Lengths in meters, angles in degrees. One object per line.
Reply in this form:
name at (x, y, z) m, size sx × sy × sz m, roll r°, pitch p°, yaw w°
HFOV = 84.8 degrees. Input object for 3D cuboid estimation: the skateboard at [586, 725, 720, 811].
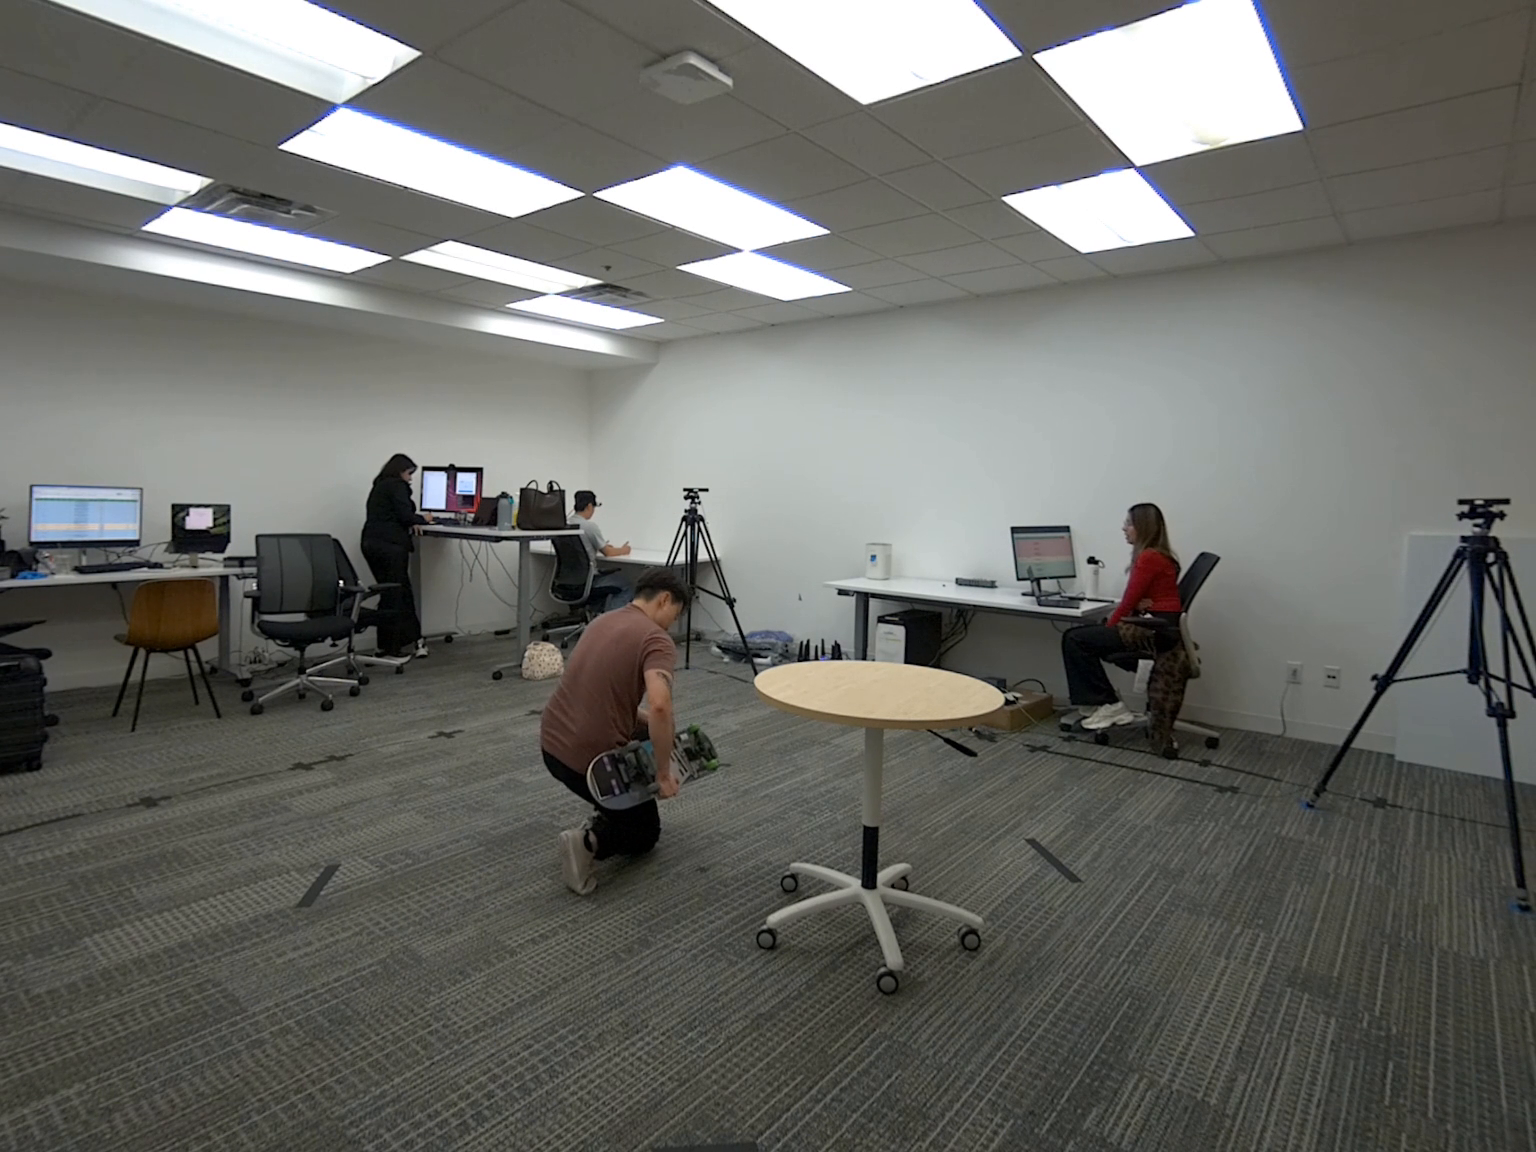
skateboard at (-0.361, 0.659, 3.051) m, size 0.111 × 0.197 × 0.764 m, roll -37°, pitch -15°, yaw 22°
